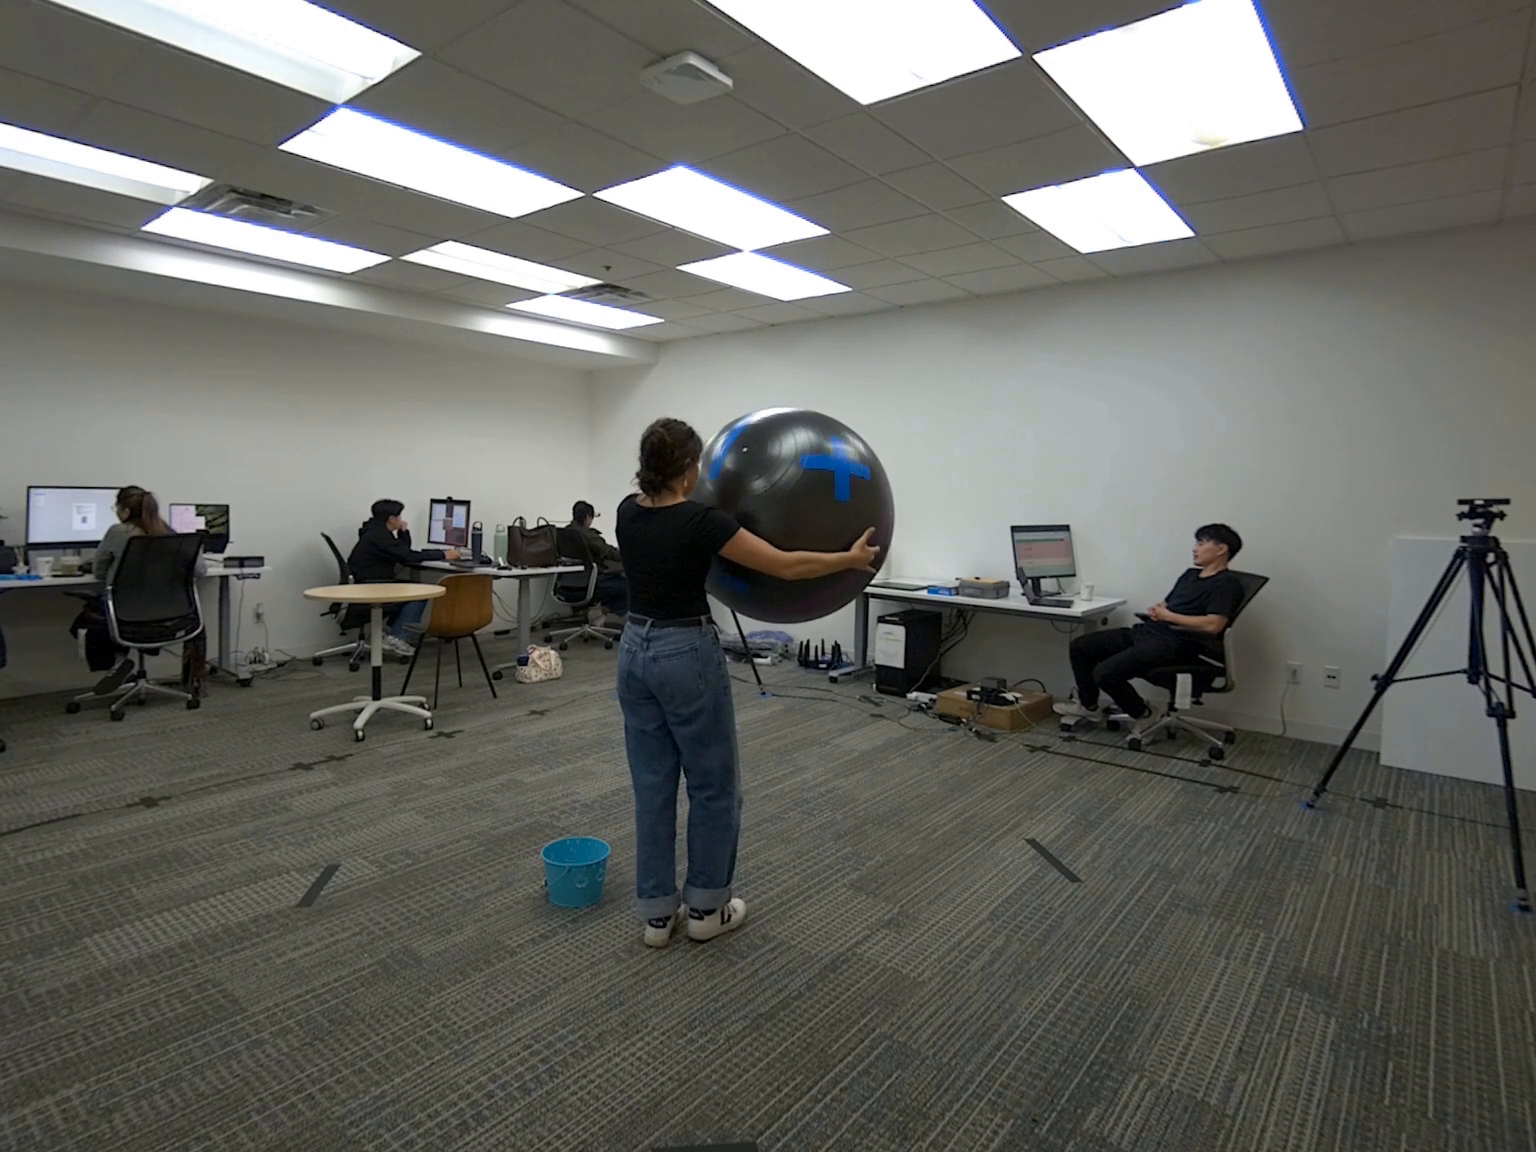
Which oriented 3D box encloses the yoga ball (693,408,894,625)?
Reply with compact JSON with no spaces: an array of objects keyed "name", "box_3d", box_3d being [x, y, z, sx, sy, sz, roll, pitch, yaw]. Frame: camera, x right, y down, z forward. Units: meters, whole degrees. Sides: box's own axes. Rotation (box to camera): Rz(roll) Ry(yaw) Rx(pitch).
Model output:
[{"name":"yoga ball","box_3d":[0.053,-0.212,2.997,0.757,0.755,0.762,1,4,-2]}]
